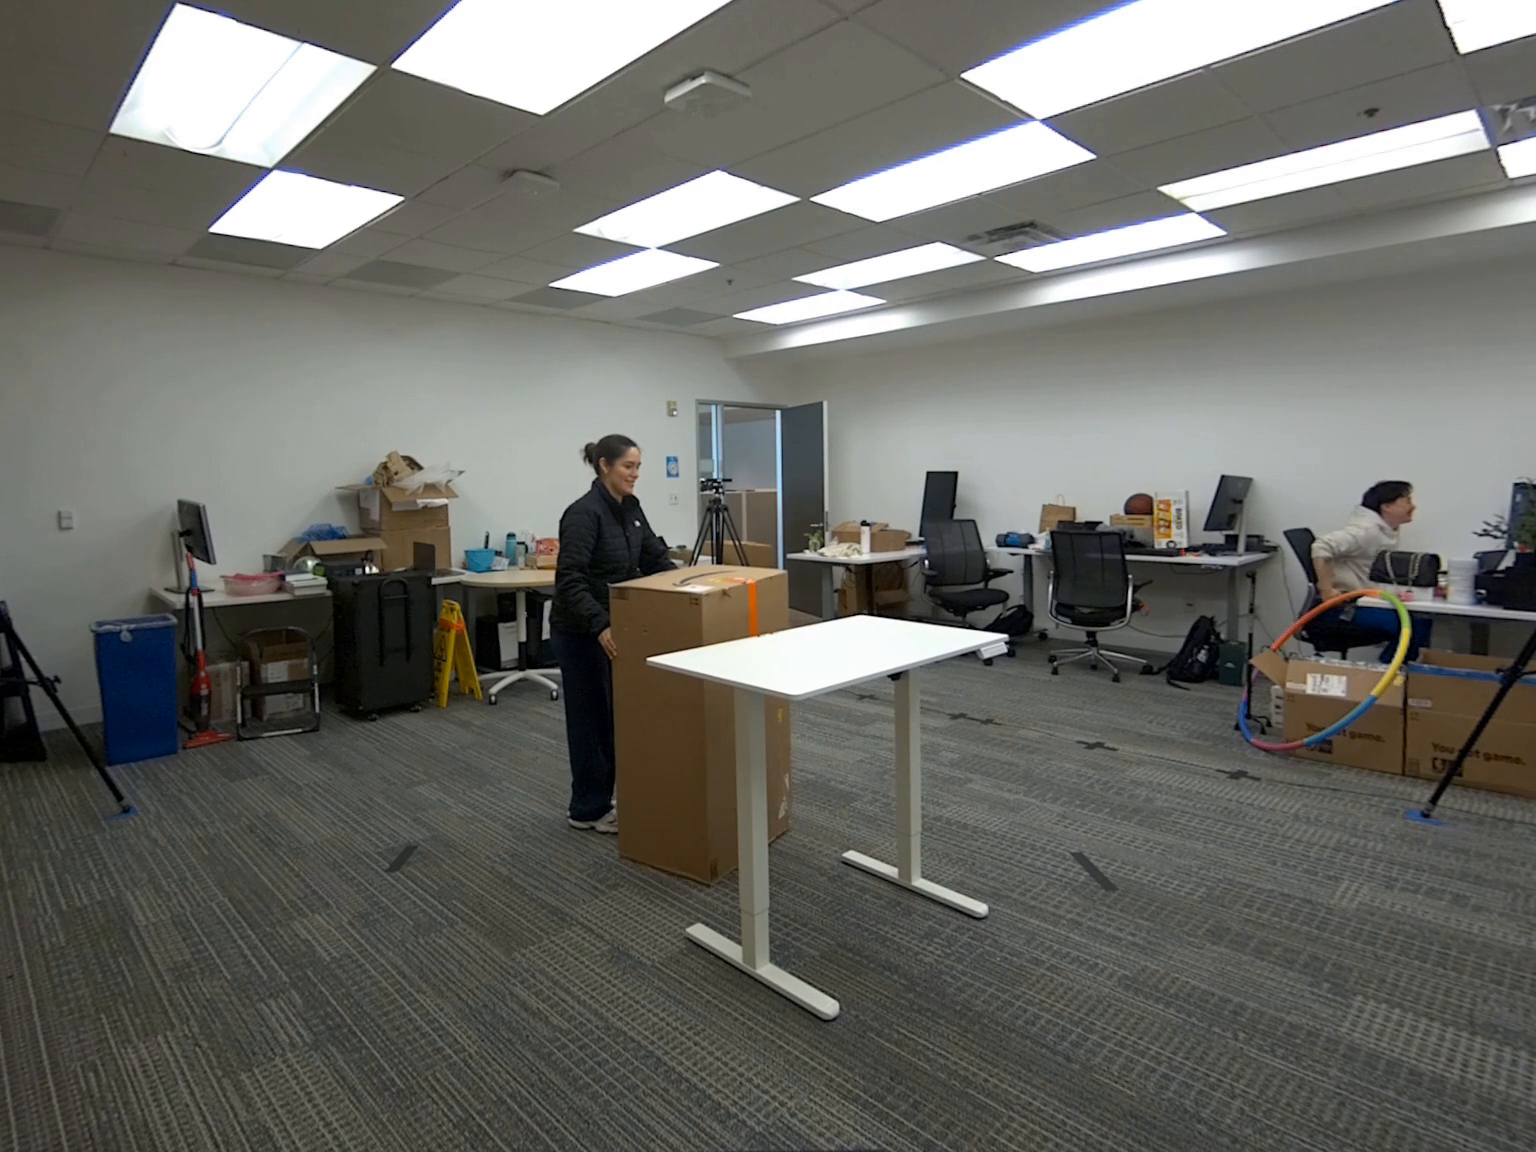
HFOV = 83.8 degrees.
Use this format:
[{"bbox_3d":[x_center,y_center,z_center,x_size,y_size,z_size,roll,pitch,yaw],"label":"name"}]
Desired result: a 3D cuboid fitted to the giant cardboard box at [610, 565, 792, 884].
[{"bbox_3d":[-0.242,0.514,3.242,0.438,1.020,0.565,2,7,33],"label":"giant cardboard box"}]
